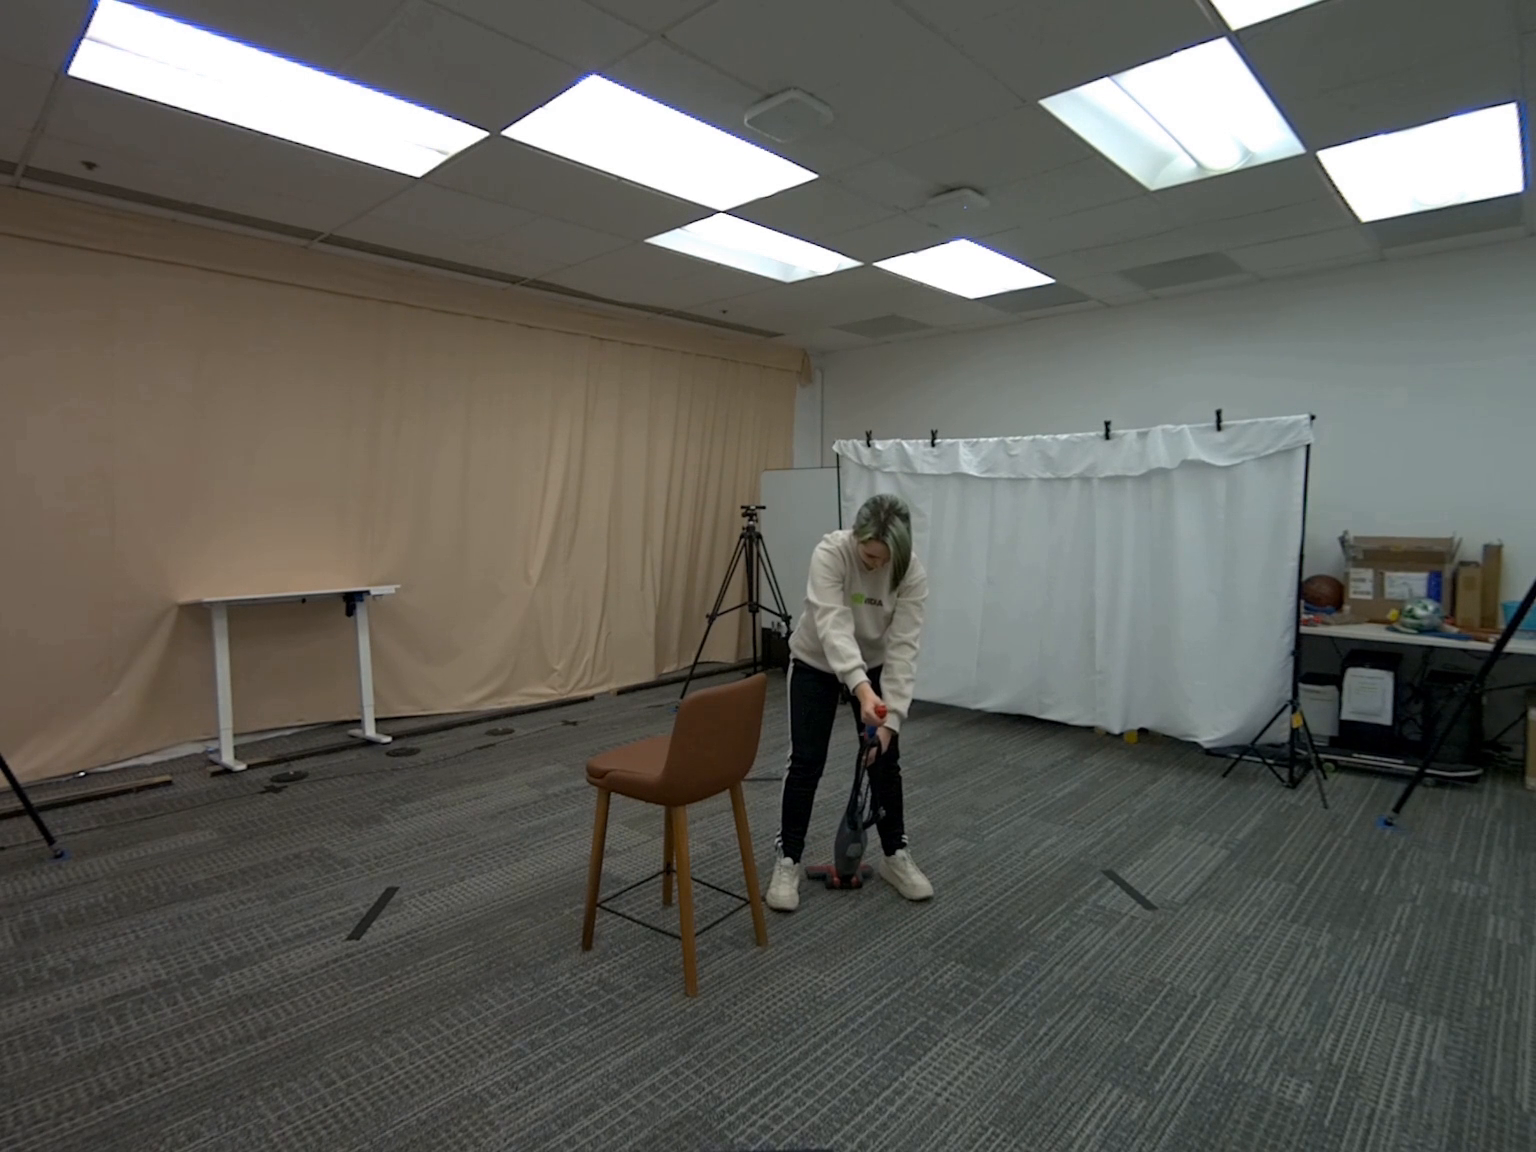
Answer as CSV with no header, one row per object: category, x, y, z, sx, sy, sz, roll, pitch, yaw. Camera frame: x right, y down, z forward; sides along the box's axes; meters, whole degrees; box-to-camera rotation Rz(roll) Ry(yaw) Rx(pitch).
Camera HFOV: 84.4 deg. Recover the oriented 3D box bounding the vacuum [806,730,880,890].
vacuum,0.302,0.746,2.740,0.251,1.032,0.147,0,45,-5
